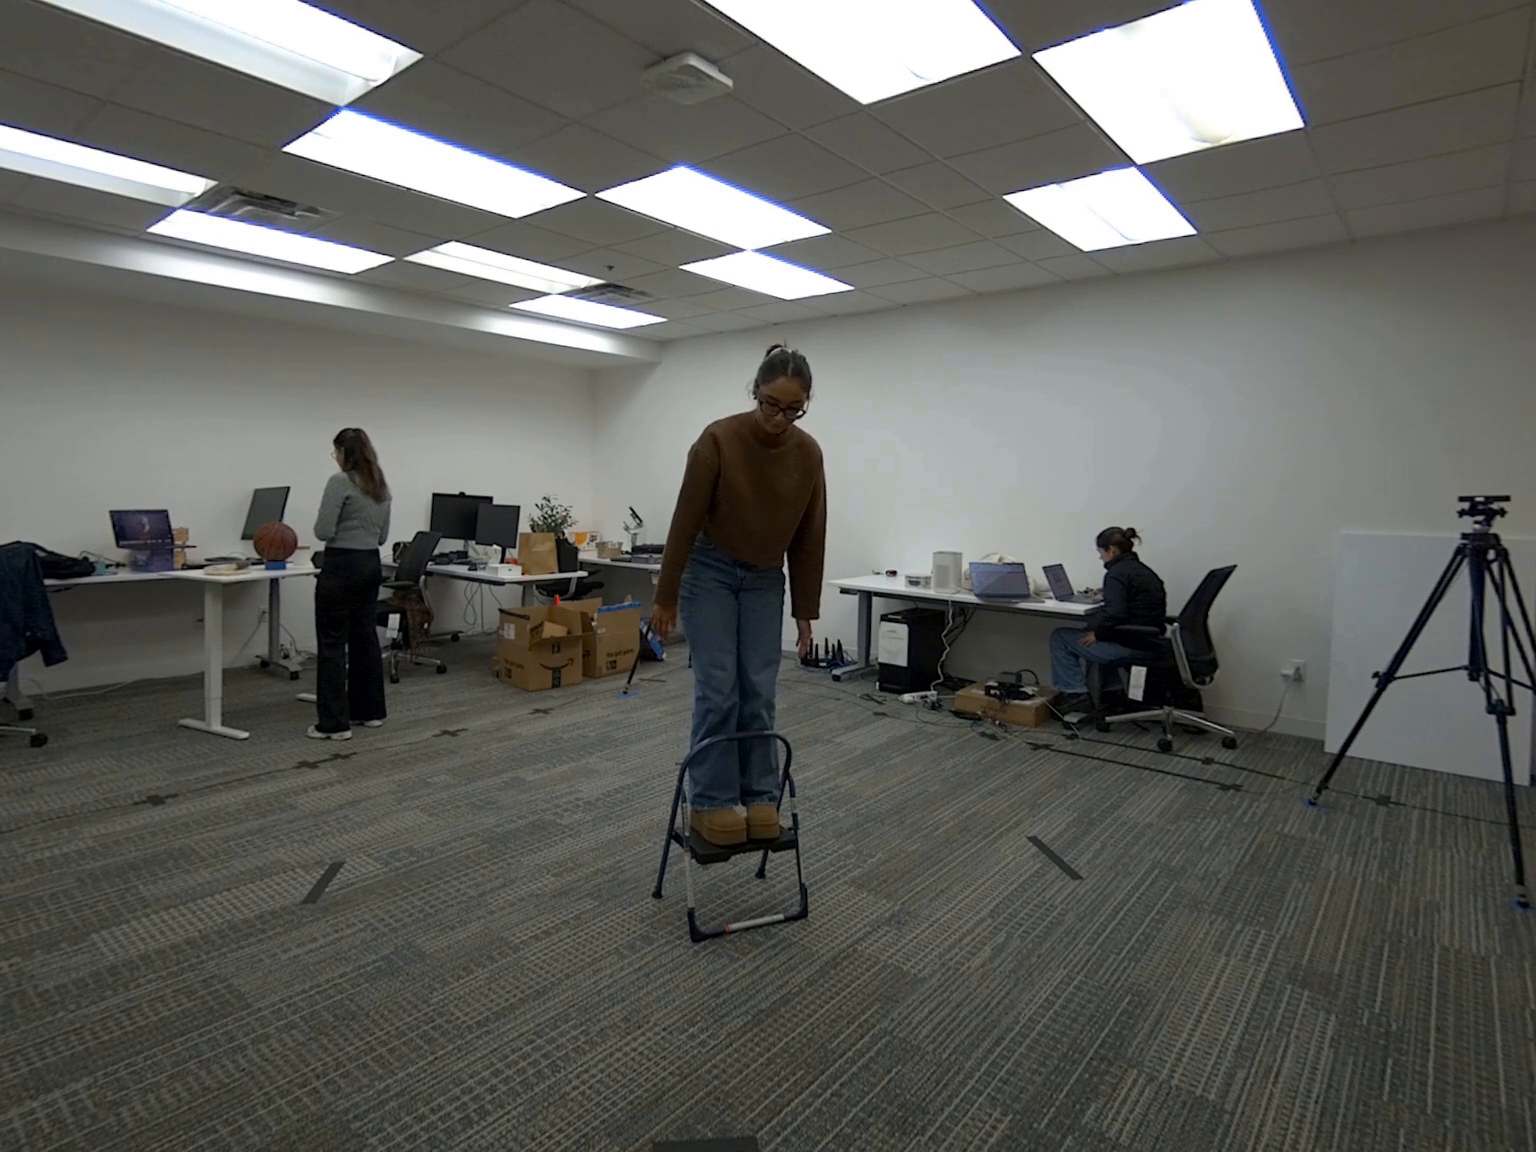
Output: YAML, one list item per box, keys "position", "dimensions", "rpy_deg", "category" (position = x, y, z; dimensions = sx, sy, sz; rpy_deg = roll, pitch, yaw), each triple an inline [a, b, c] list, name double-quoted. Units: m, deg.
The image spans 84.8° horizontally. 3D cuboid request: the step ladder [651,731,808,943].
- position: [-0.132, 0.796, 2.814]
  dimensions: [0.420, 0.604, 0.359]
  rpy_deg: [-1, 4, -27]
  category: "step ladder"
